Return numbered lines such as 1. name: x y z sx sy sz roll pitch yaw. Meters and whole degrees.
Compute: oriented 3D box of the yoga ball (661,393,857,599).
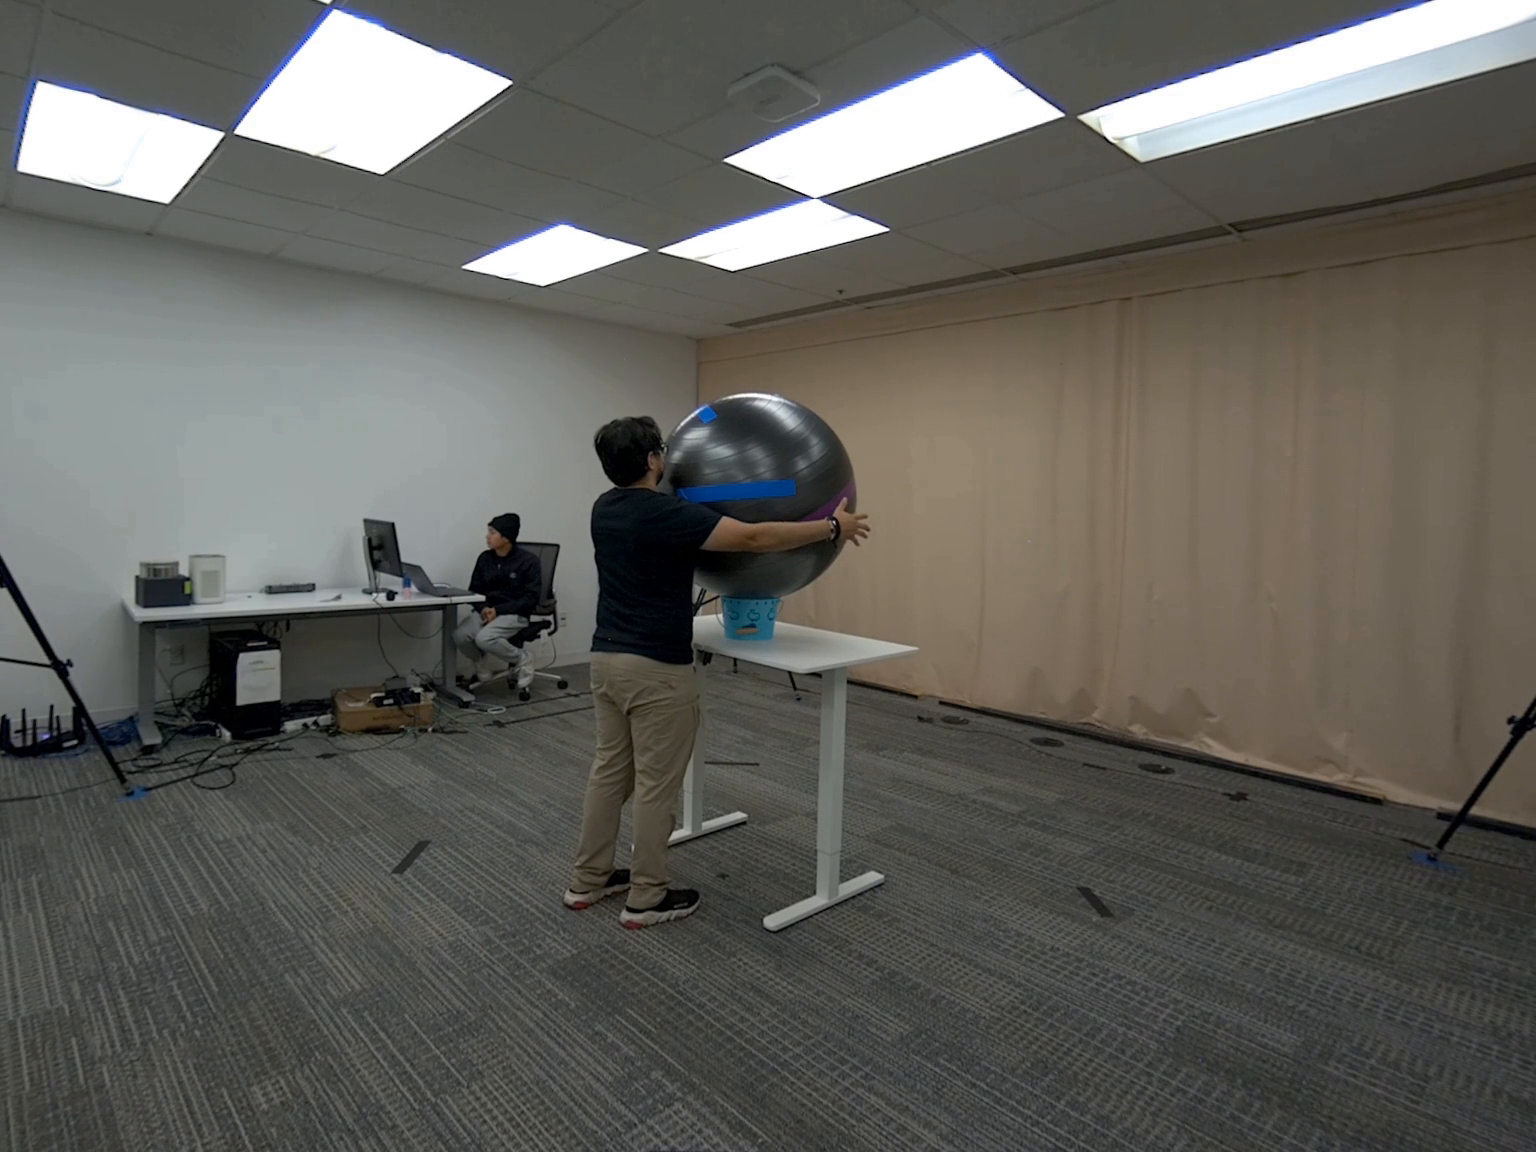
1. yoga ball: -0.056 -0.282 3.083 0.757 0.756 0.761 1 4 -1
